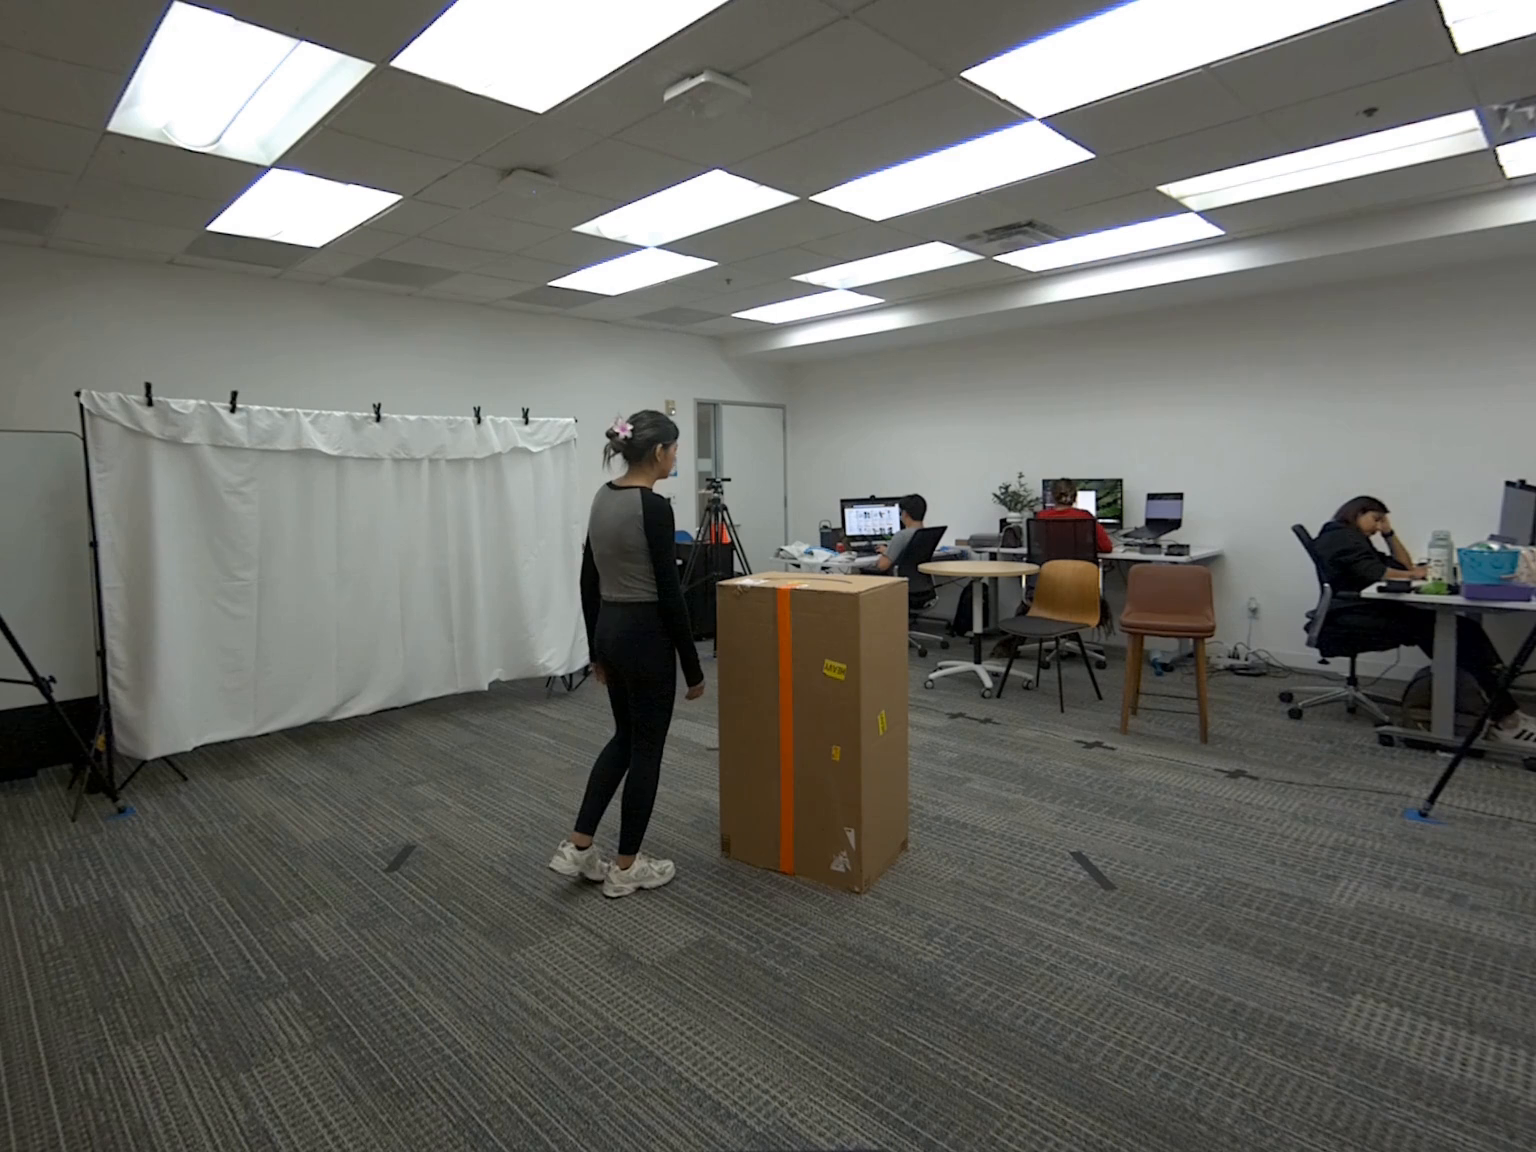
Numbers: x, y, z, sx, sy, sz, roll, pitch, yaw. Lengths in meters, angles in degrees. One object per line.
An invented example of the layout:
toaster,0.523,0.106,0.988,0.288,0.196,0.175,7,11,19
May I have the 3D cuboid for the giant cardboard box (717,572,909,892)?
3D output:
giant cardboard box,0.170,0.524,3.151,0.593,1.022,0.416,2,5,33
